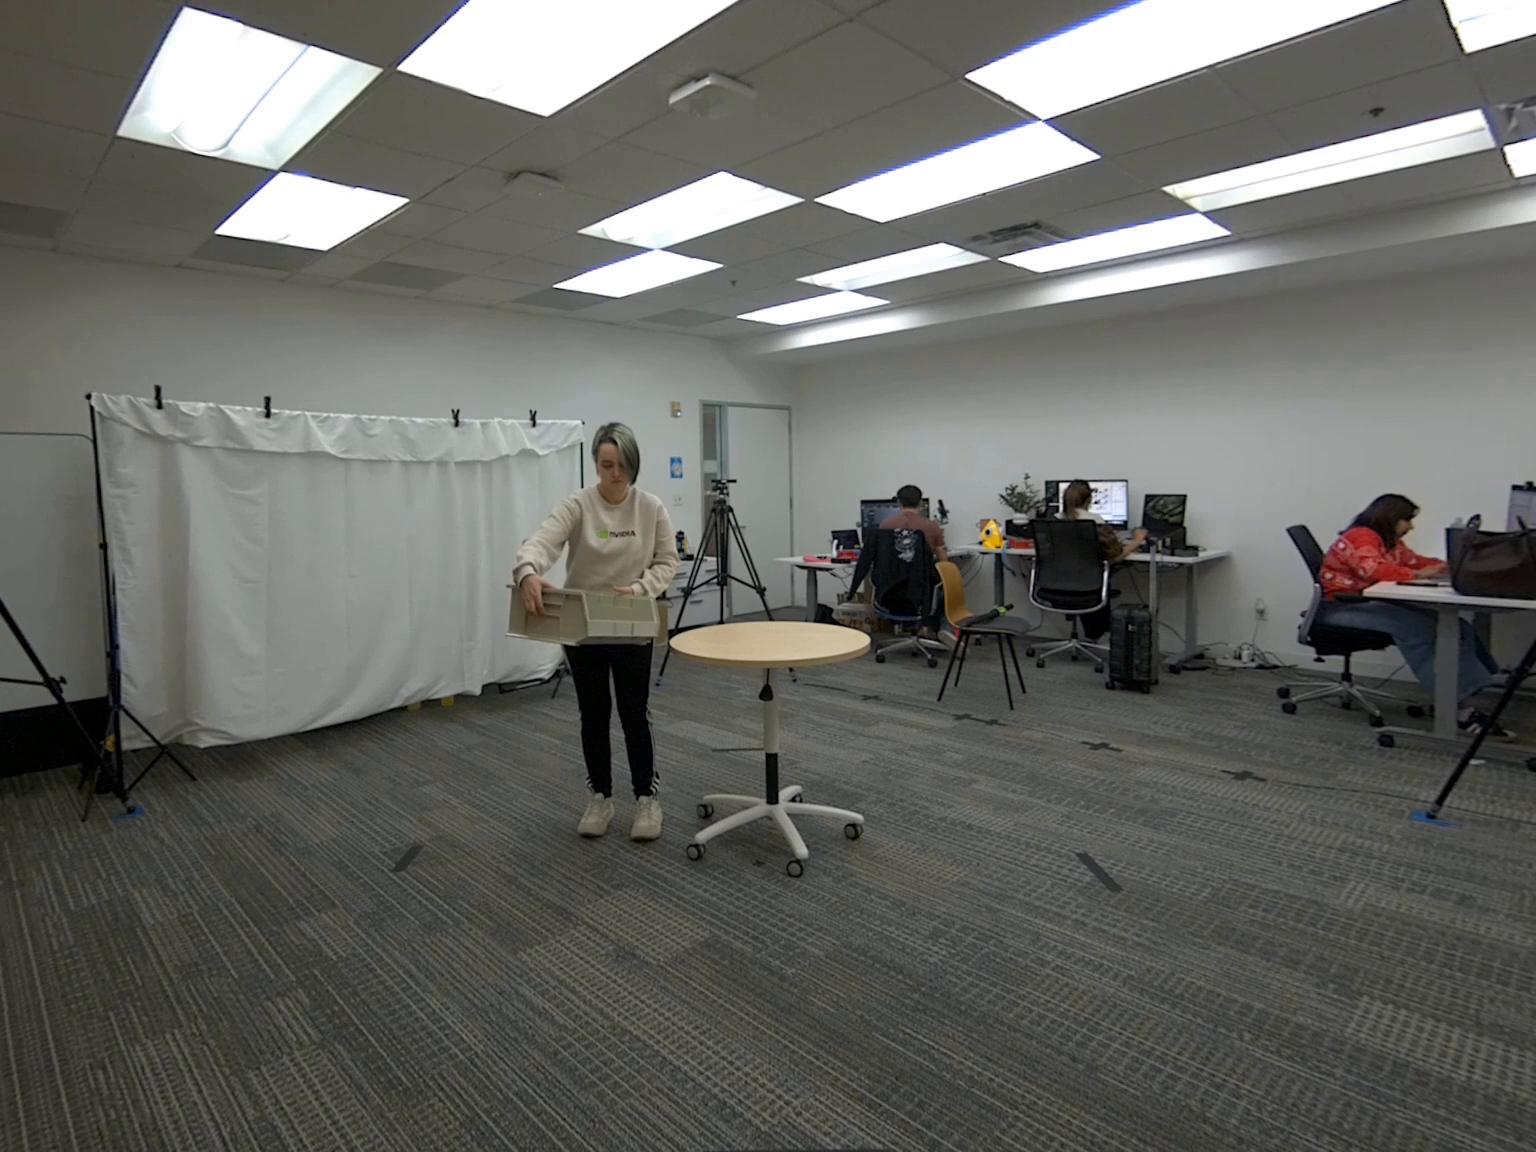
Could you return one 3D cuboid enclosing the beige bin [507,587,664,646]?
[{"bbox_3d":[-0.656,0.147,3.064,0.387,0.189,0.410,2,-2,31],"label":"beige bin"}]
